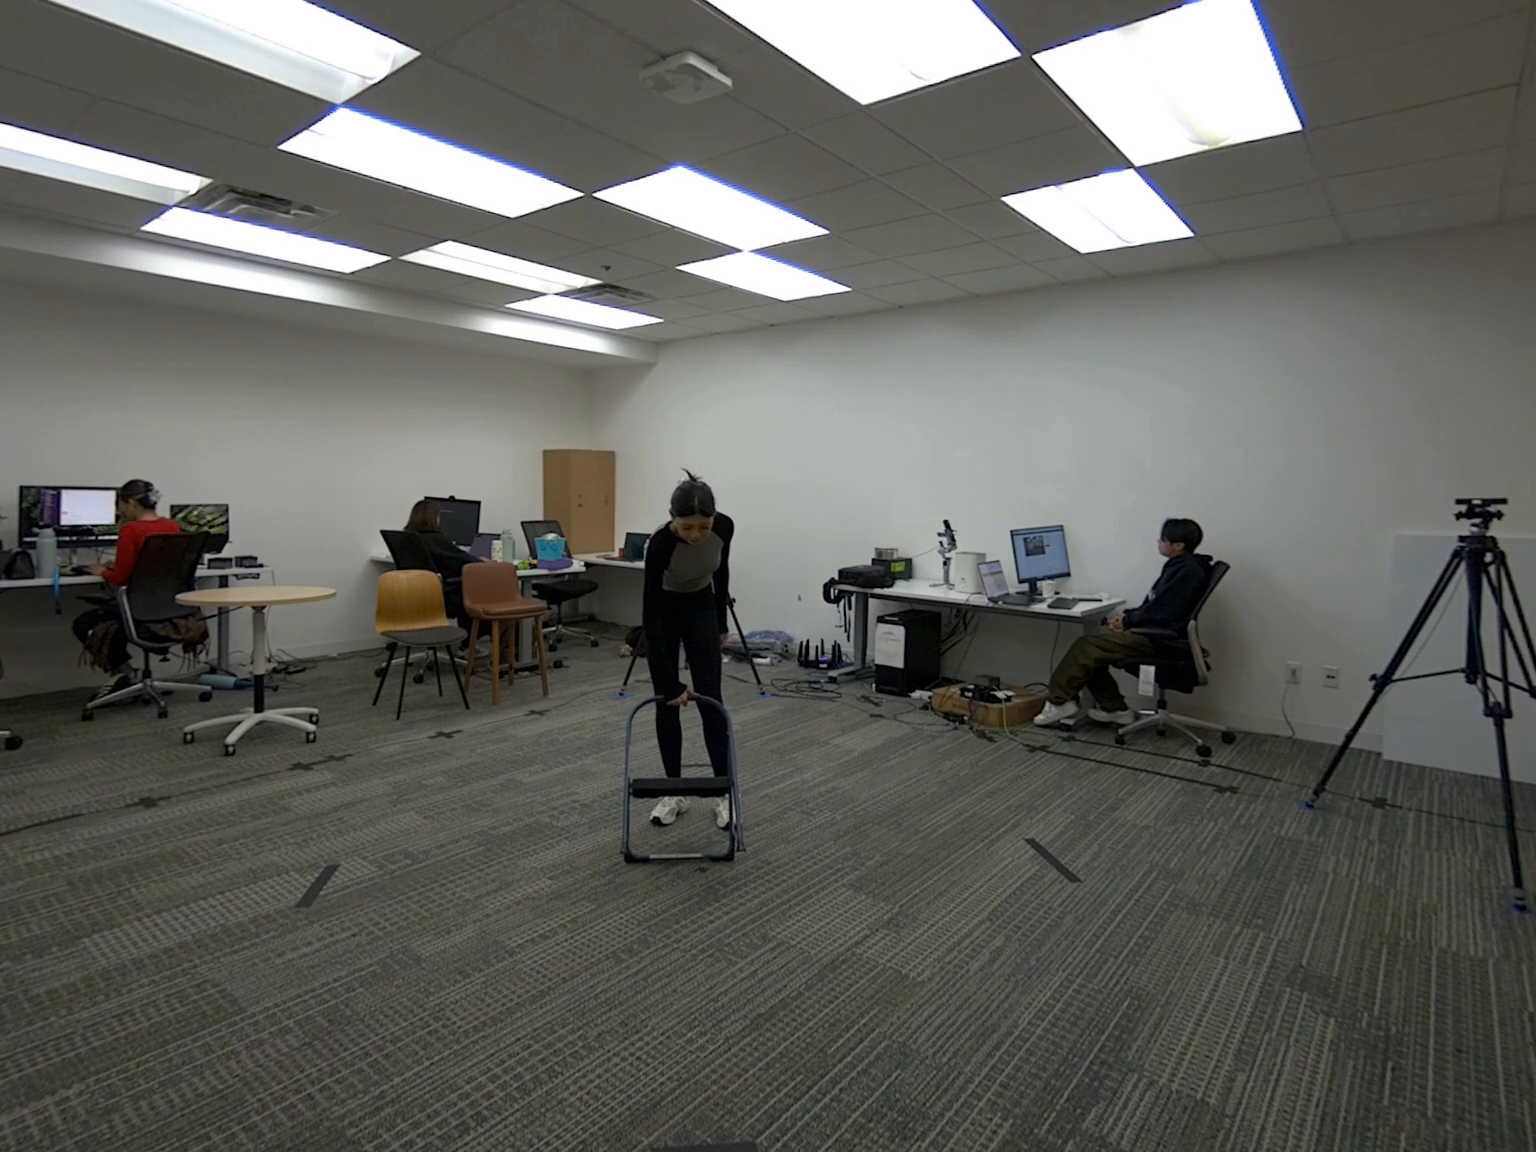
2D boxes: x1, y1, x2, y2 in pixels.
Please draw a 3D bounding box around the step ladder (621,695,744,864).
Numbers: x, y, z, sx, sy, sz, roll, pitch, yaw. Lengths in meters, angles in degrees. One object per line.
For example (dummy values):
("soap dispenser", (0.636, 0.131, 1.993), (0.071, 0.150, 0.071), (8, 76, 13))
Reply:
("step ladder", (-0.334, 0.728, 3.165), (0.428, 0.620, 0.344), (1, -24, -7))
